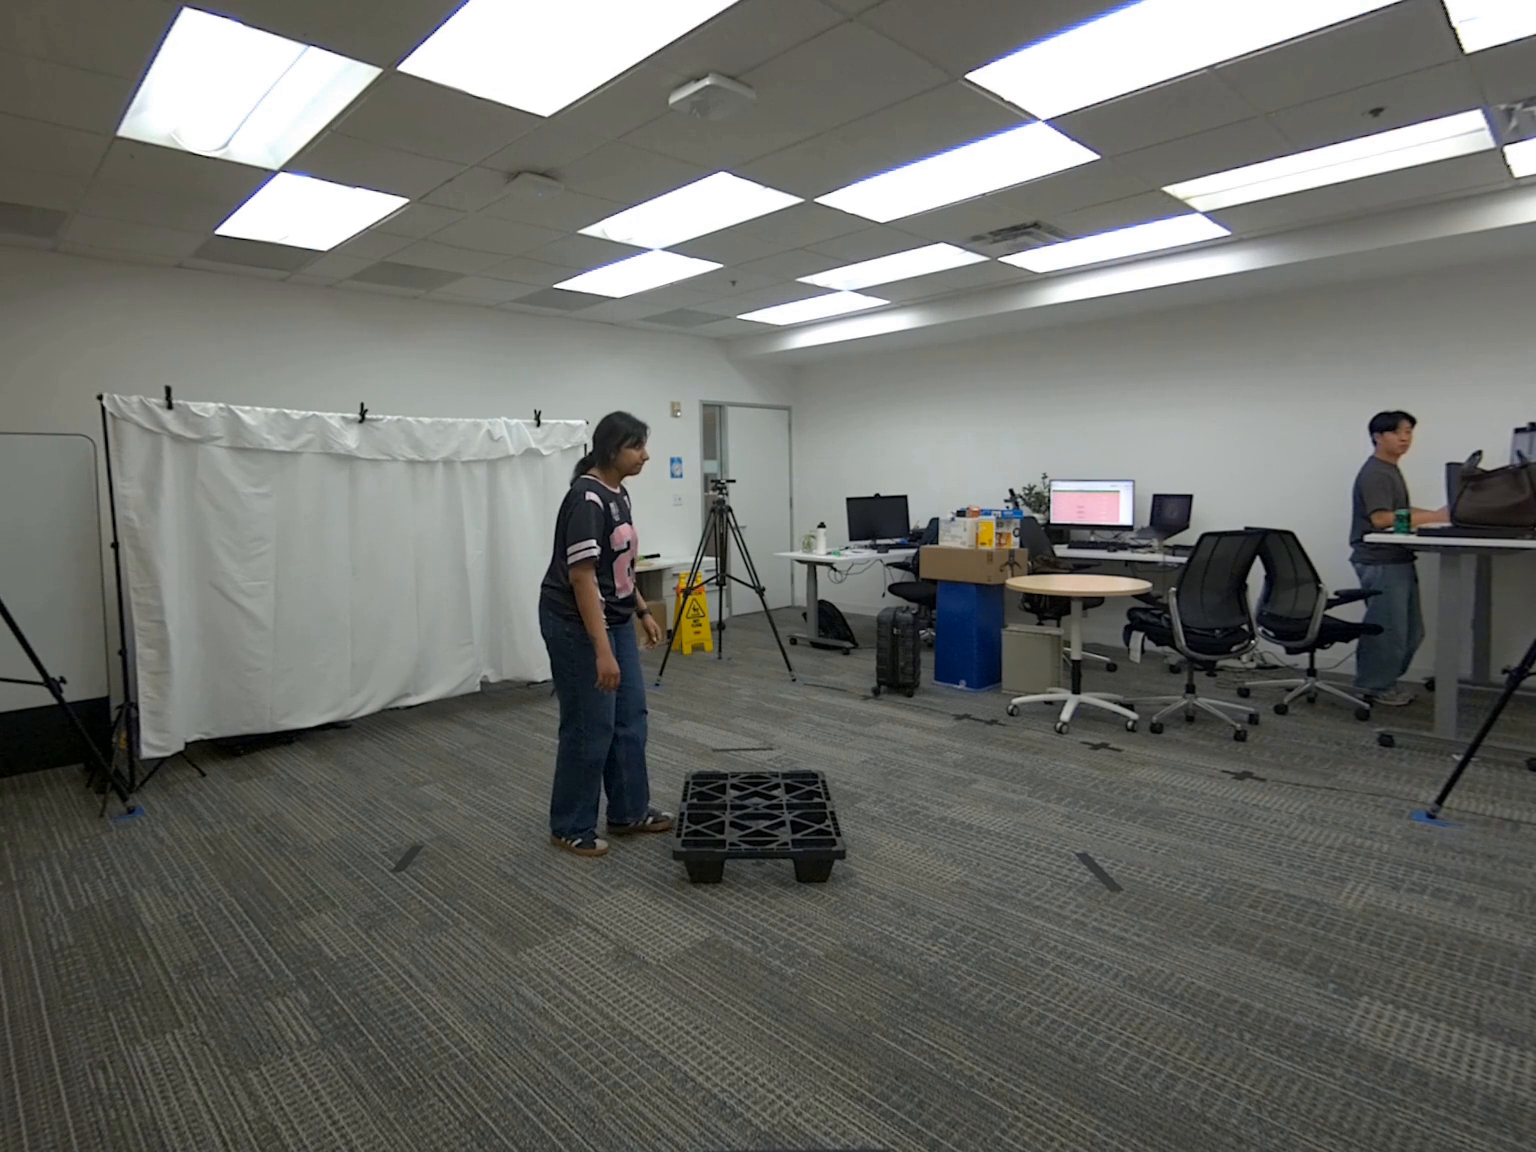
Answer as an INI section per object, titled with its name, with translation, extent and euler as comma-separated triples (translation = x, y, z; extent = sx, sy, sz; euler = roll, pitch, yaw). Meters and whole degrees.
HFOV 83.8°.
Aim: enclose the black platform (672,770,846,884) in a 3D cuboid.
[black platform]
translation = -0.040, 0.955, 3.317
extent = 0.605, 0.142, 0.809
euler = 0, 6, -1
